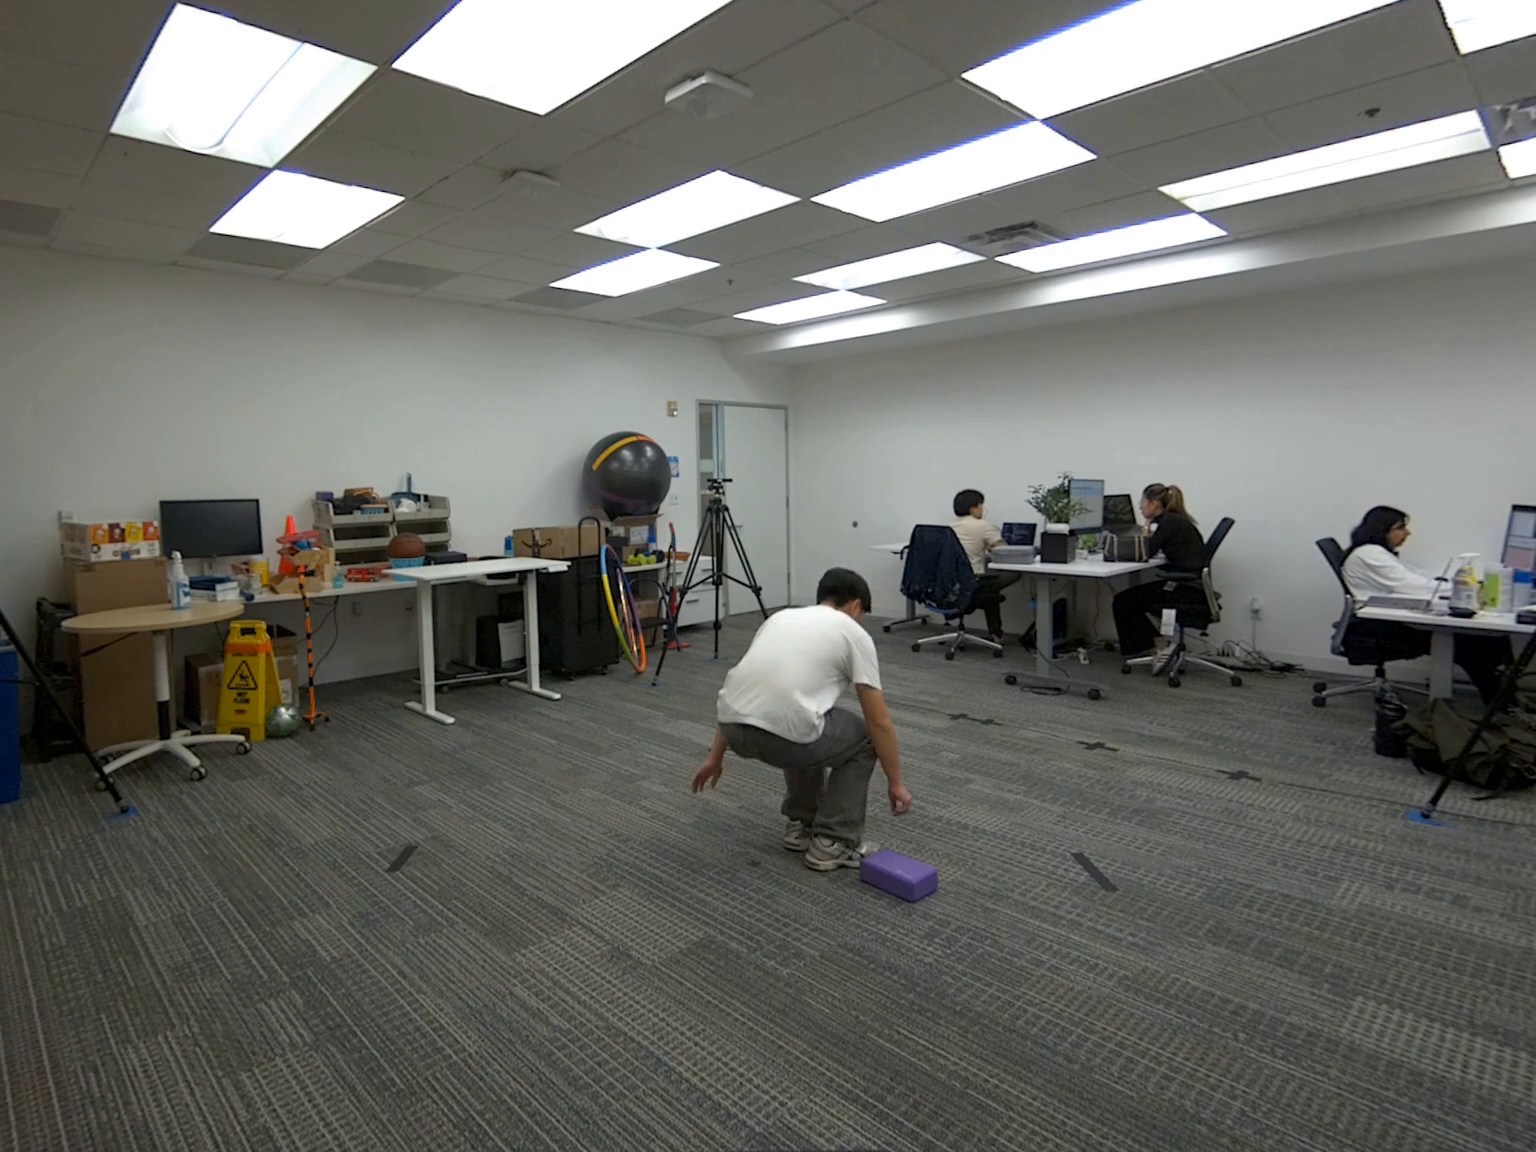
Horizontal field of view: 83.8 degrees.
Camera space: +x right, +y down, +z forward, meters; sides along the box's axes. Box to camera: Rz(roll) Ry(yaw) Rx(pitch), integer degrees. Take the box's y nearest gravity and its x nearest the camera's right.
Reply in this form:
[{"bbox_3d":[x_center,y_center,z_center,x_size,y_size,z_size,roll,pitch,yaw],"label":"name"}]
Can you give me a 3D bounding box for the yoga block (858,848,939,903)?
[{"bbox_3d":[0.447,1.020,2.923,0.145,0.076,0.236,-6,9,-43],"label":"yoga block"}]
